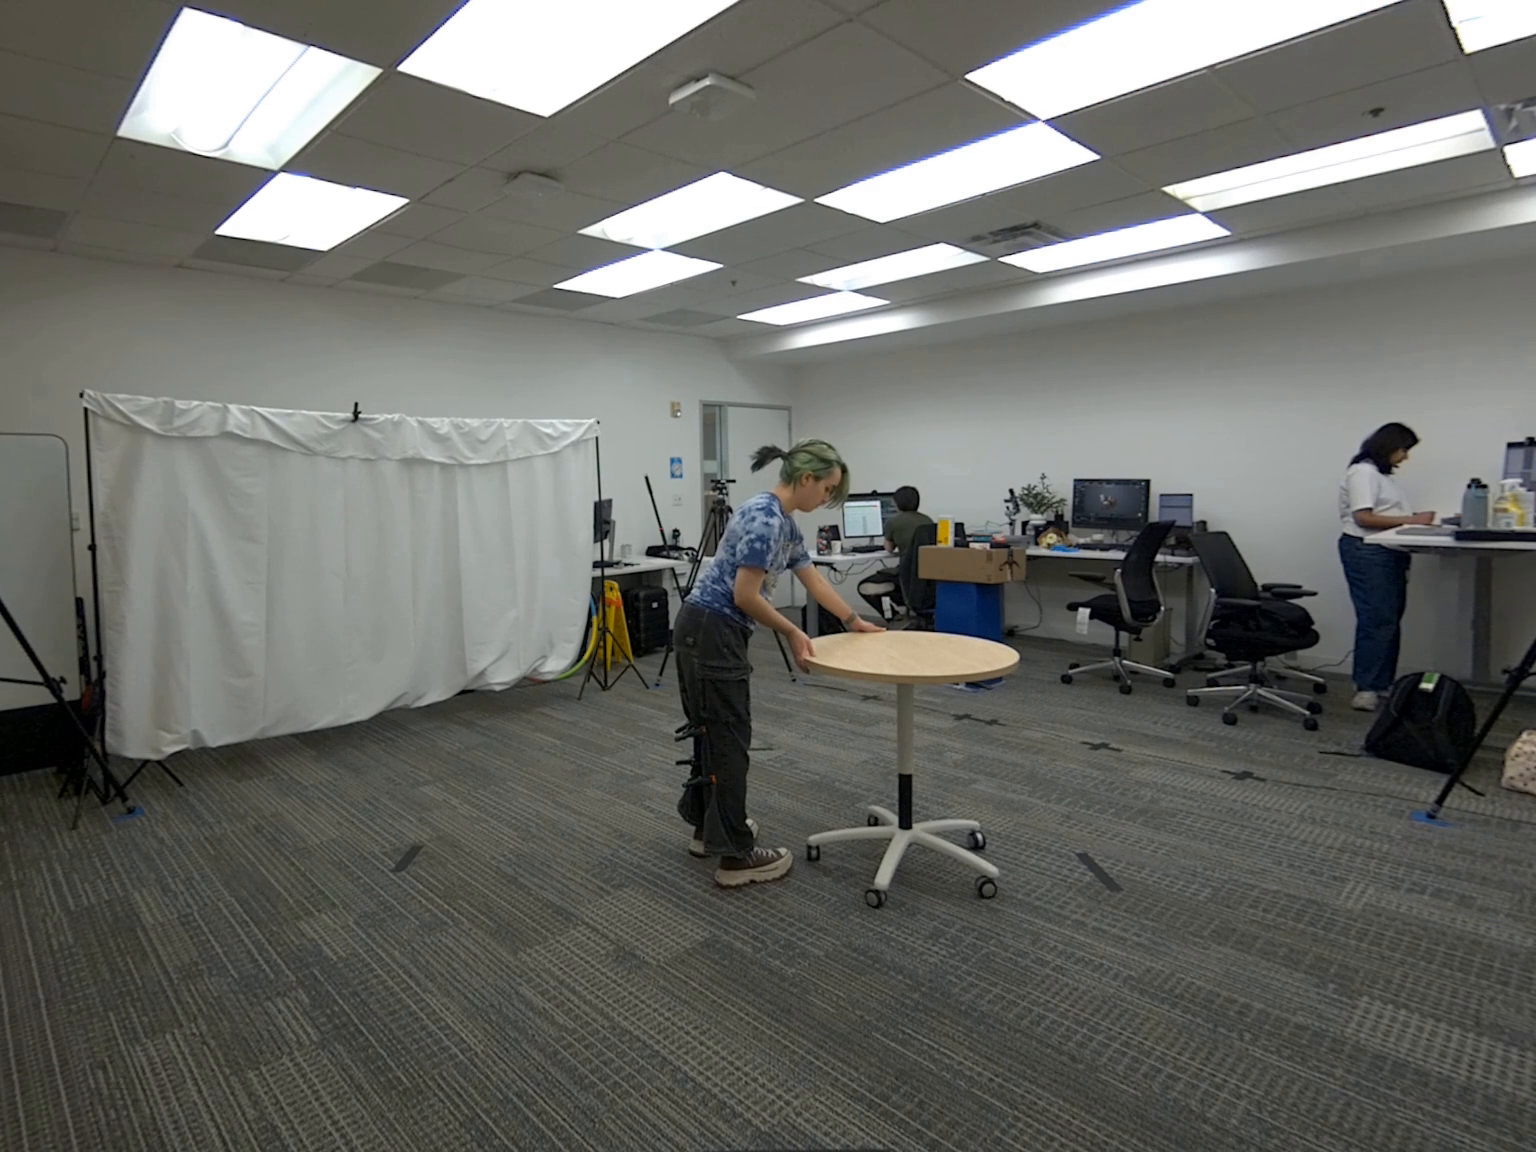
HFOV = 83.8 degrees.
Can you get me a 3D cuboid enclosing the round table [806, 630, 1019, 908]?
[{"bbox_3d":[0.495,0.656,3.045,0.763,0.791,0.768,-1,5,-2],"label":"round table"}]
